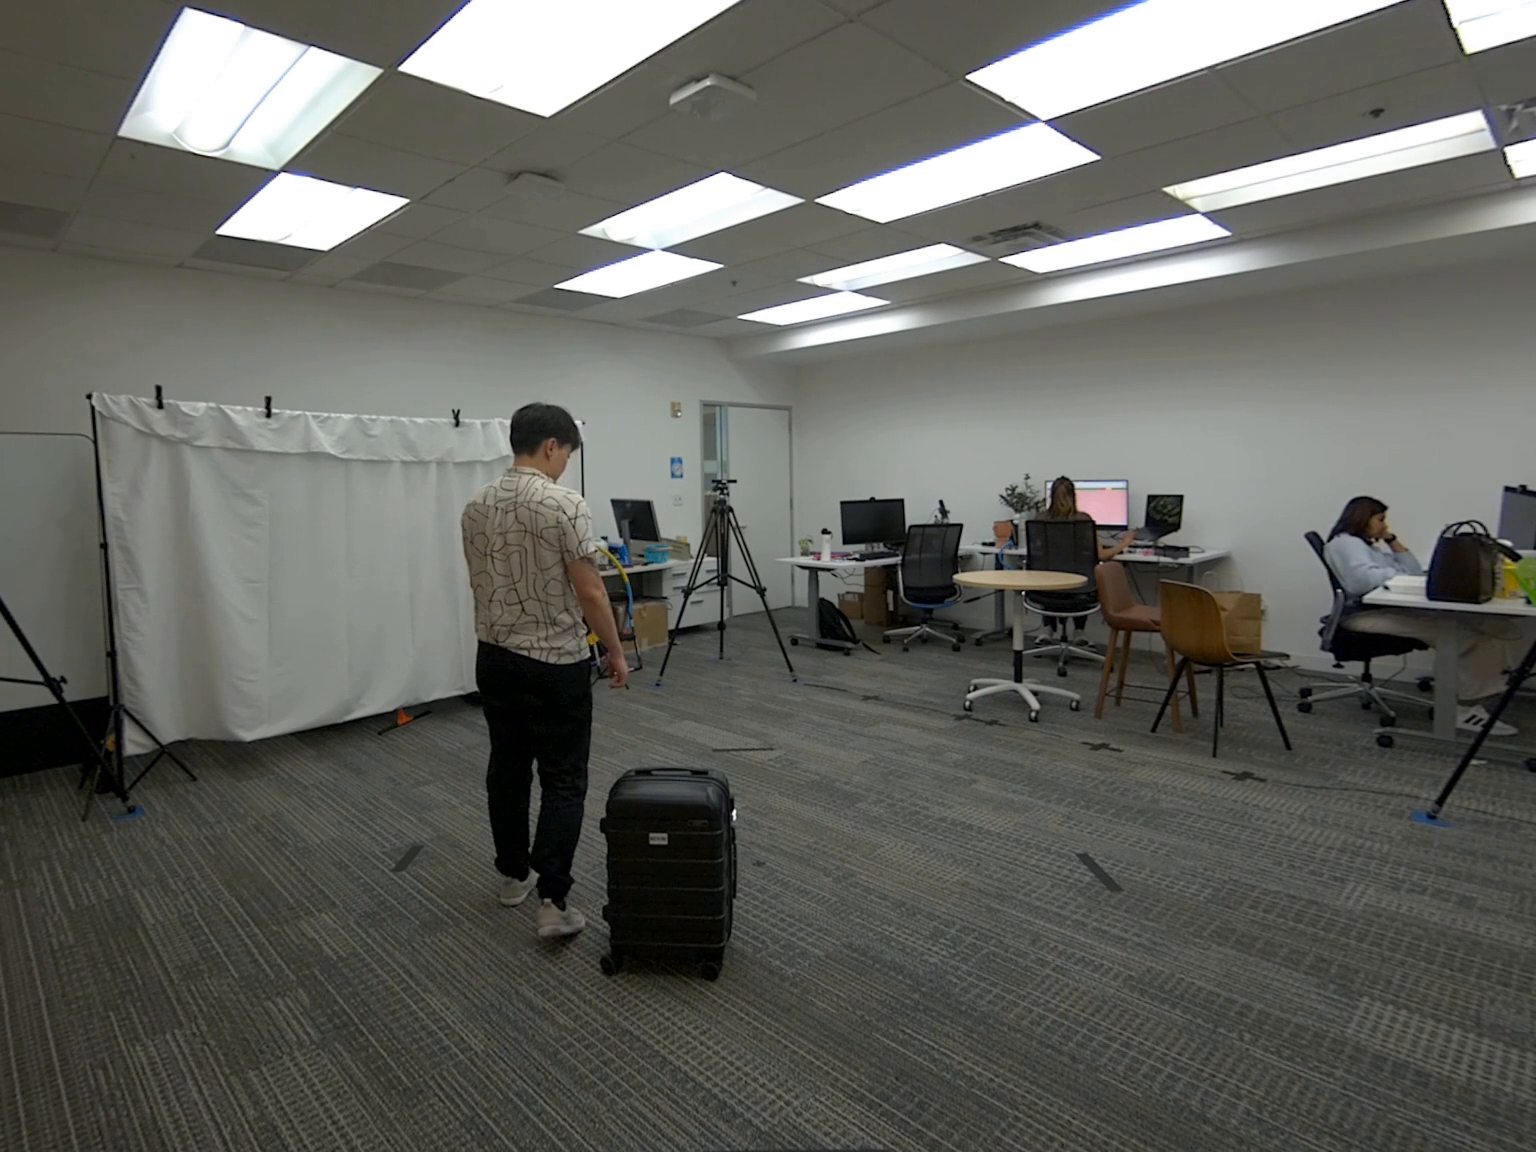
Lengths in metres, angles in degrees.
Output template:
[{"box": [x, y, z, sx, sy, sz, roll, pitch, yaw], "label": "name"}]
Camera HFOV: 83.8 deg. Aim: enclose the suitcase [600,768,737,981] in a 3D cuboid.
[{"box": [-0.282, 0.849, 2.498, 0.378, 0.547, 0.248, 0, 5, 6], "label": "suitcase"}]
